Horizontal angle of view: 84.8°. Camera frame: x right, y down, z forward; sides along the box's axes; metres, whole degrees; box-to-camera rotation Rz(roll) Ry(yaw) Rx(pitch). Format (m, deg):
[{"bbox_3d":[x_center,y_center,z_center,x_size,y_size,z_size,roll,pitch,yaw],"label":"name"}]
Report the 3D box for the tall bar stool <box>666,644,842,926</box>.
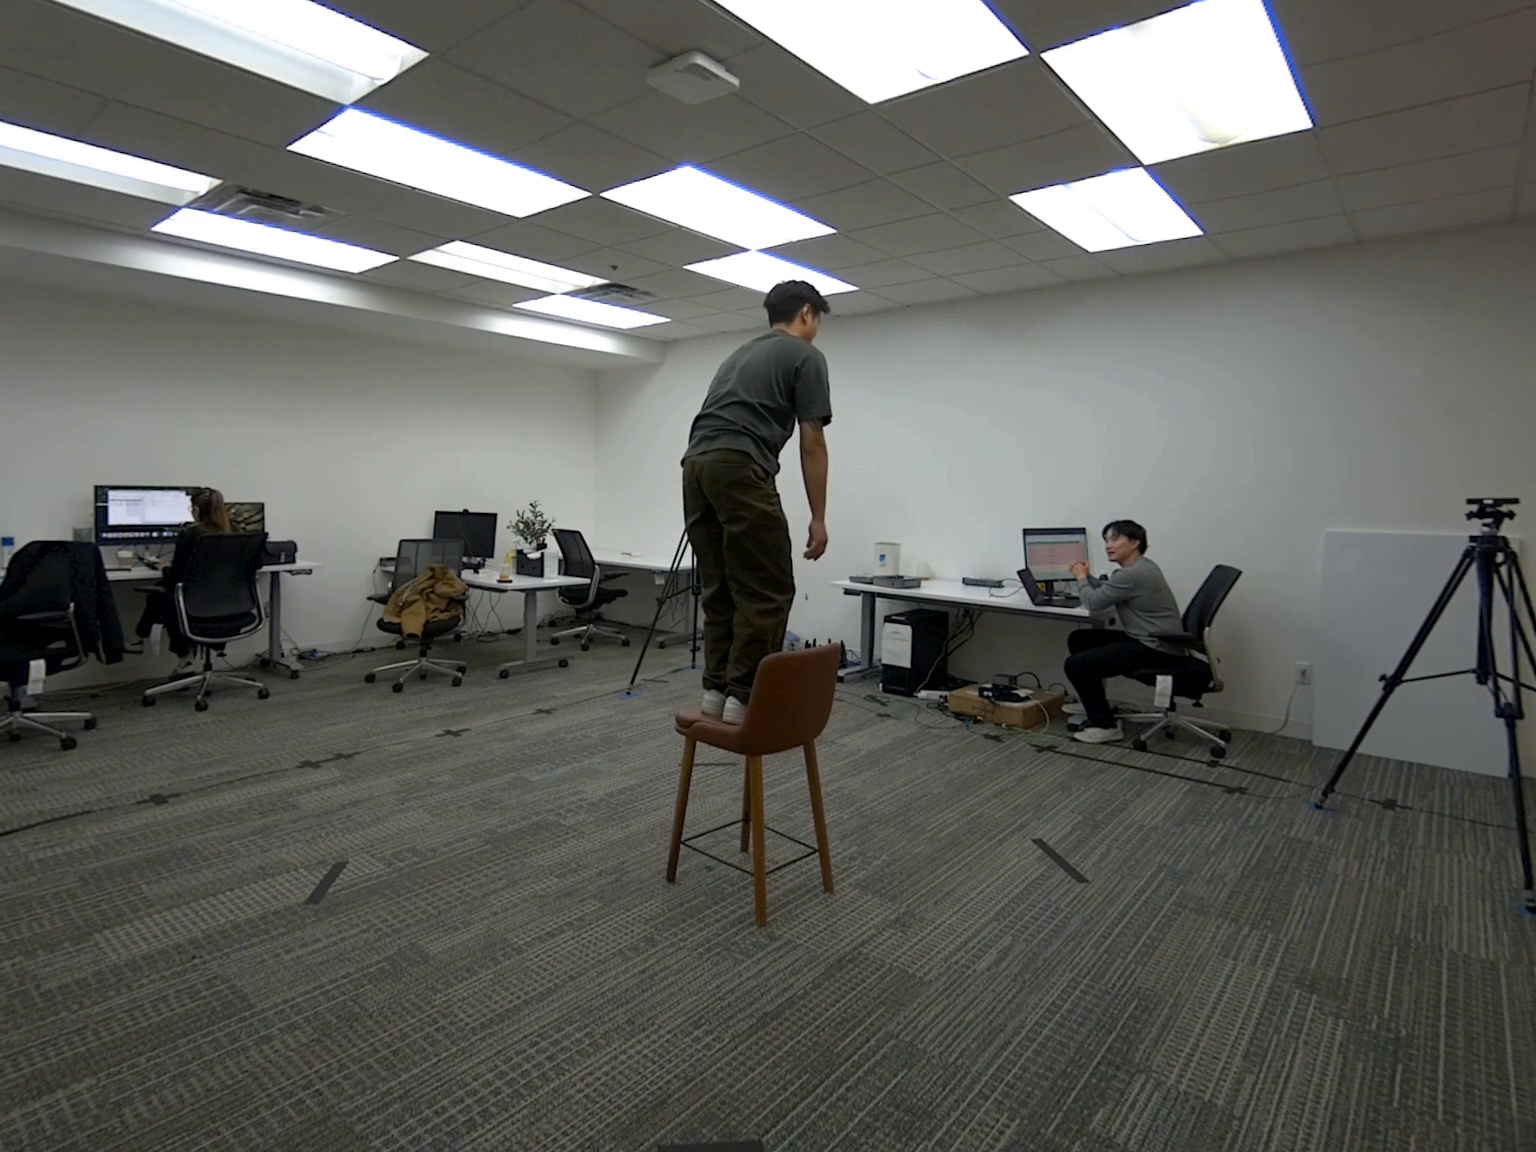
[{"bbox_3d":[-0.053,0.647,2.958,0.484,0.886,0.442,6,6,43],"label":"tall bar stool"}]
